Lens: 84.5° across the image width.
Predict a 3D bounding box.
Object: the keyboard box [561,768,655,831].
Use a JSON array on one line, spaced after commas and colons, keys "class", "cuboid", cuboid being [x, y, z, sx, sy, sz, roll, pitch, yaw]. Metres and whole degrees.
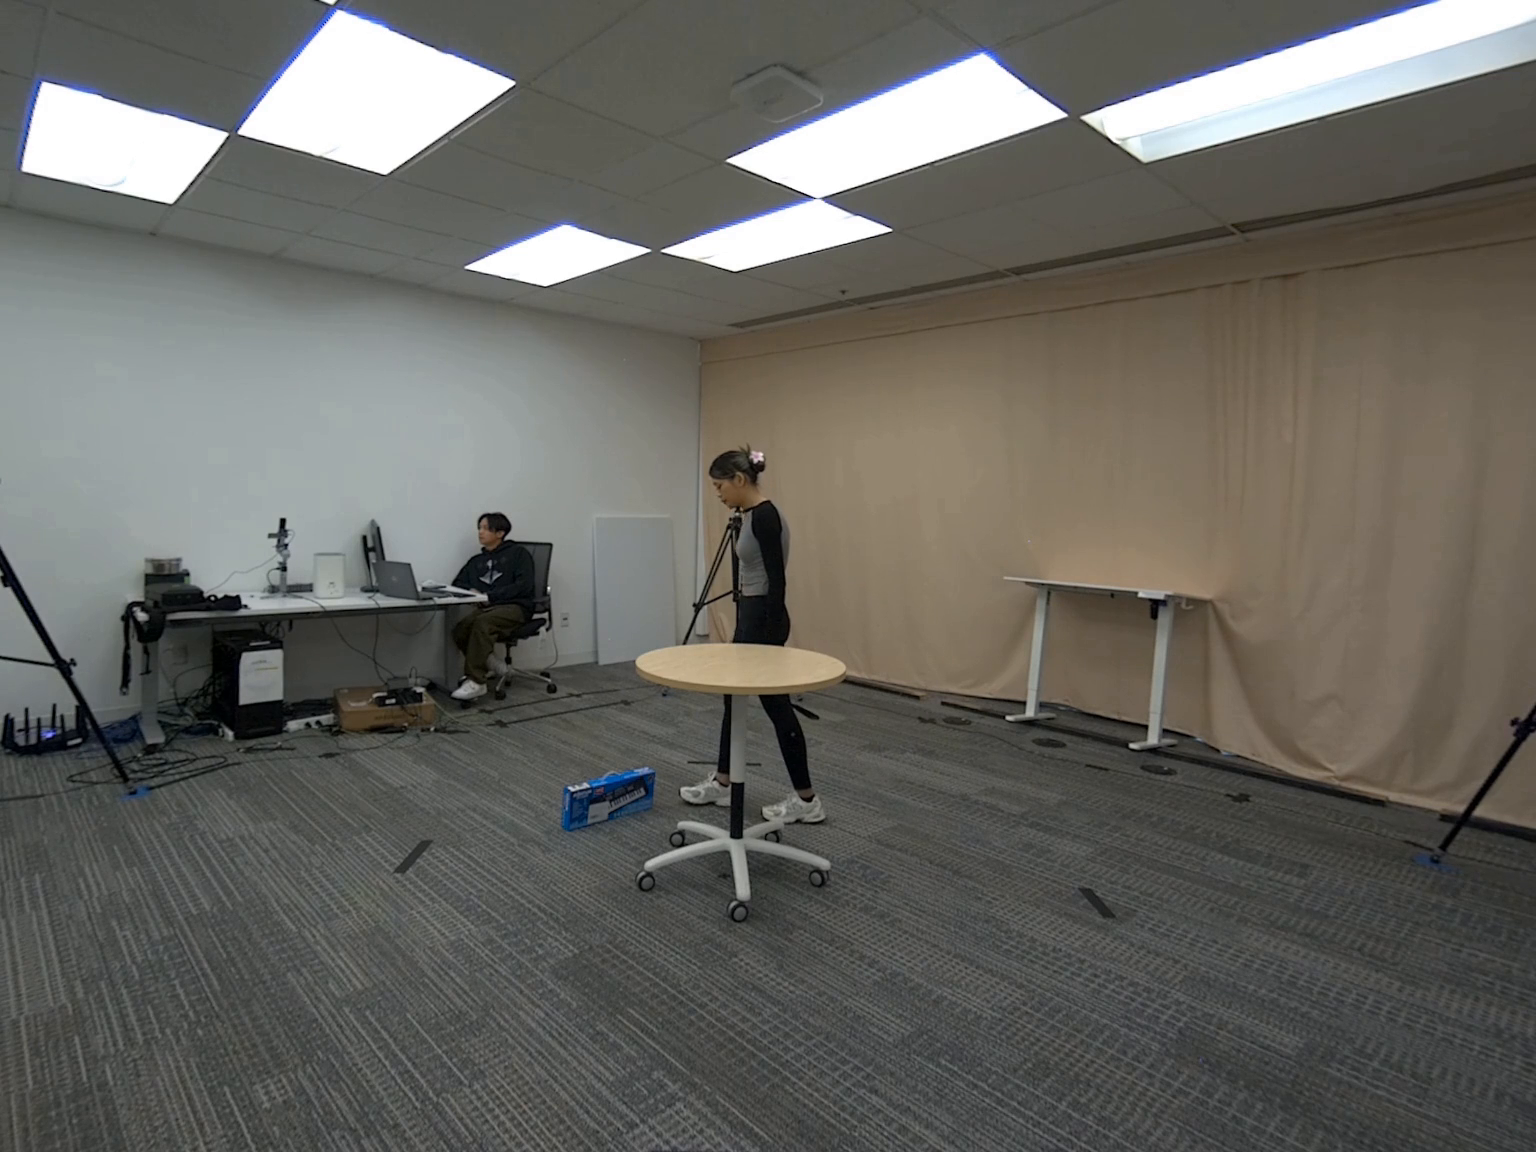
[{"class": "keyboard box", "cuboid": [-0.694, 0.962, 3.637, 0.427, 0.175, 0.061, -3, 11, -44]}]
